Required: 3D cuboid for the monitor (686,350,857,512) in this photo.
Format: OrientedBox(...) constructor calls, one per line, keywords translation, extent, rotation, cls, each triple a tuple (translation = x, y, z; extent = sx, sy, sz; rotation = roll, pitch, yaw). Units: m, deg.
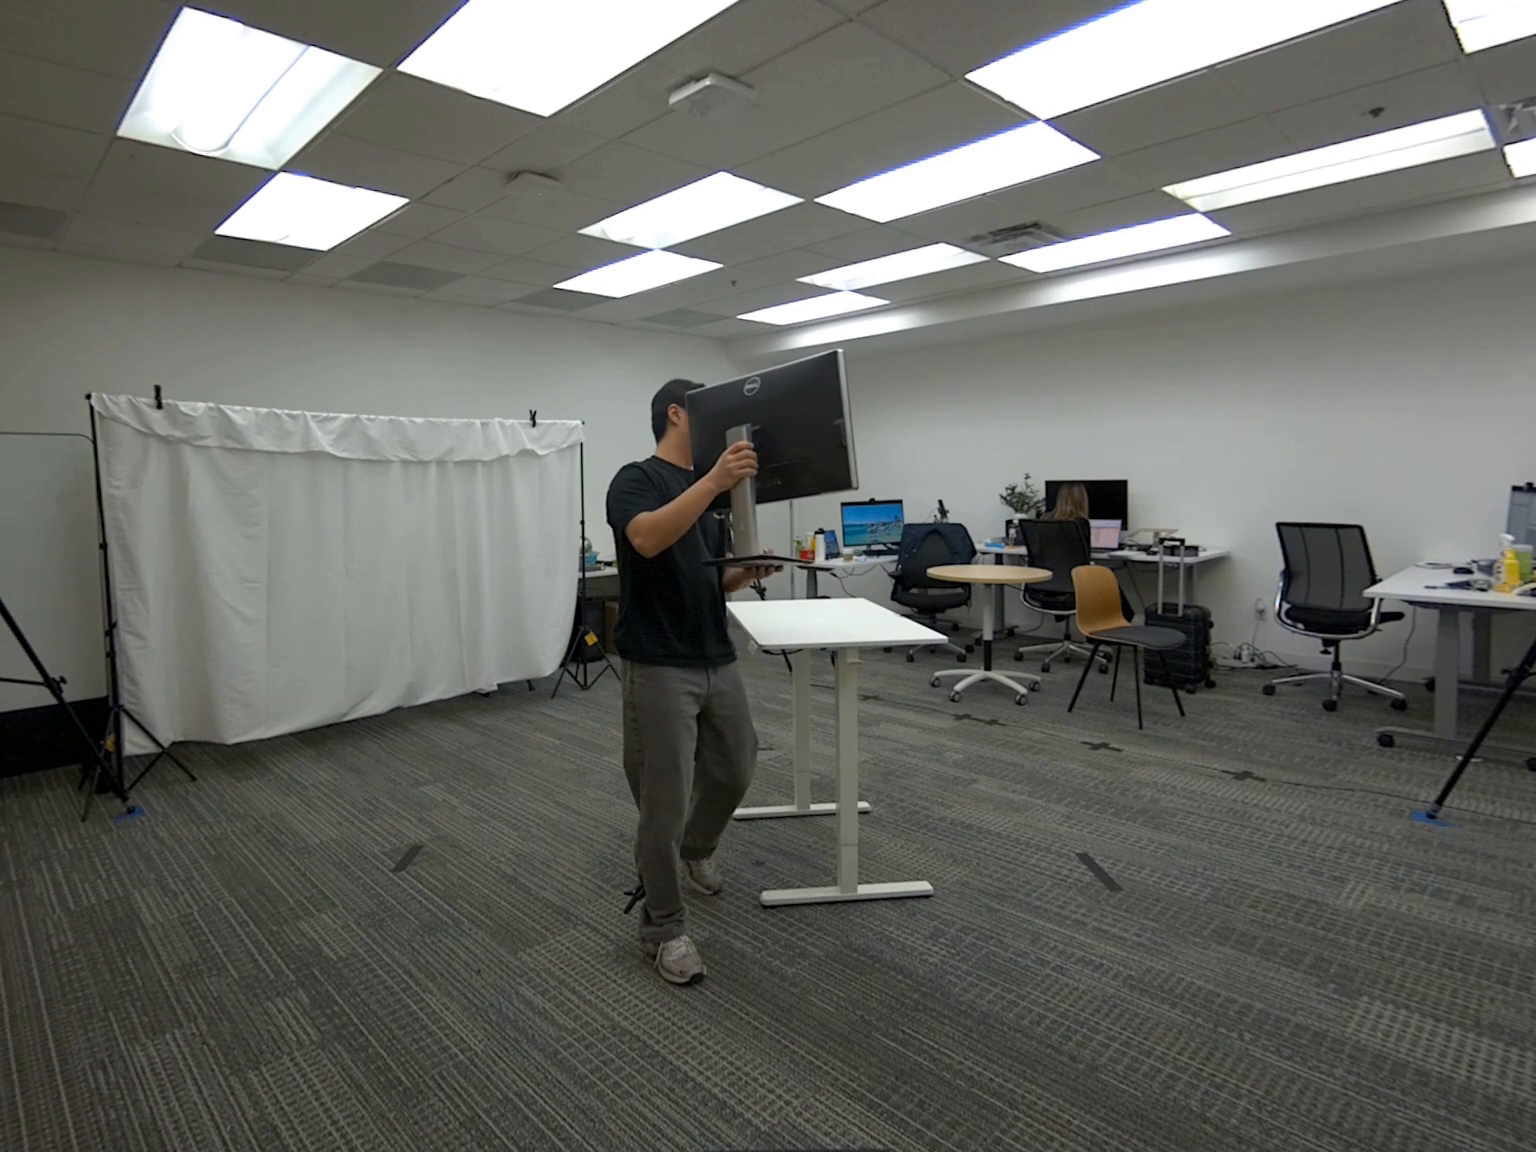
OrientedBox(translation=(-0.025, -0.283, 2.328), extent=(0.576, 0.571, 0.214), rotation=(-6, -15, 43), cls="monitor")
